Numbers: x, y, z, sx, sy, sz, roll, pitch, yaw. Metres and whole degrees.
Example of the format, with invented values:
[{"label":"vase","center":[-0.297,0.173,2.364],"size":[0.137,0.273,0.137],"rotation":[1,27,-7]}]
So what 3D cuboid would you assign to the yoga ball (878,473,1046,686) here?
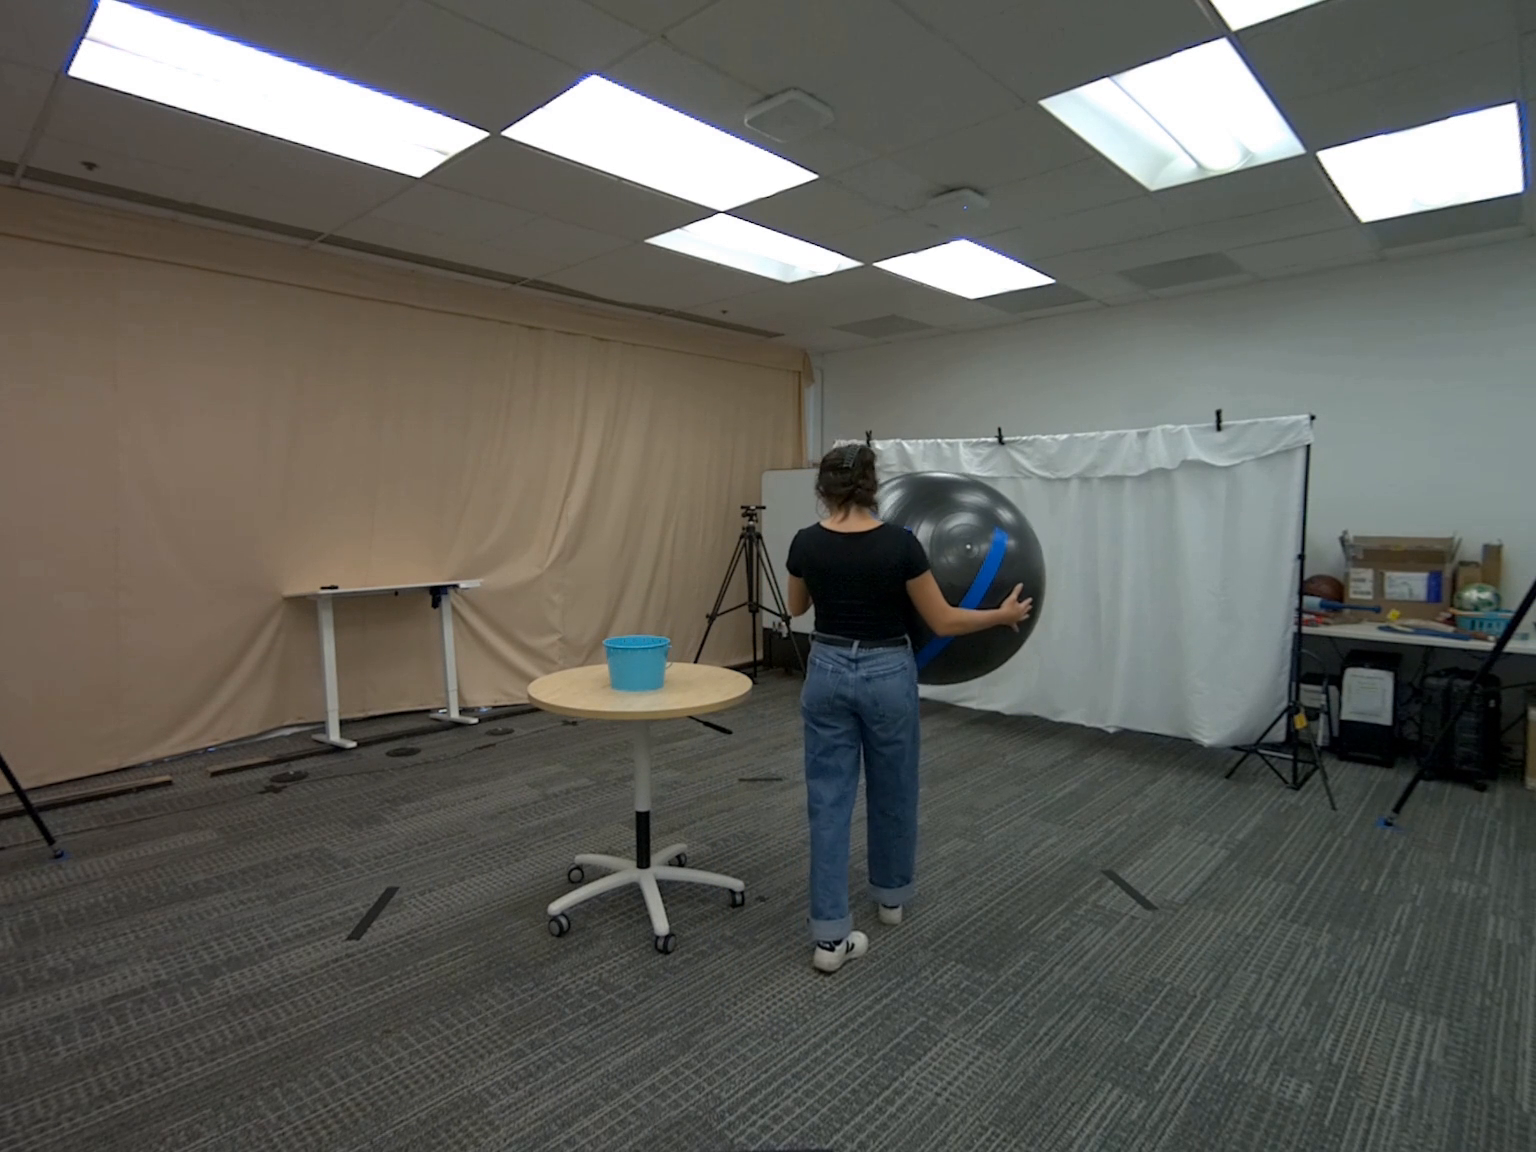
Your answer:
[{"label":"yoga ball","center":[0.592,0.008,3.008],"size":[0.757,0.756,0.760],"rotation":[0,4,-2]}]
